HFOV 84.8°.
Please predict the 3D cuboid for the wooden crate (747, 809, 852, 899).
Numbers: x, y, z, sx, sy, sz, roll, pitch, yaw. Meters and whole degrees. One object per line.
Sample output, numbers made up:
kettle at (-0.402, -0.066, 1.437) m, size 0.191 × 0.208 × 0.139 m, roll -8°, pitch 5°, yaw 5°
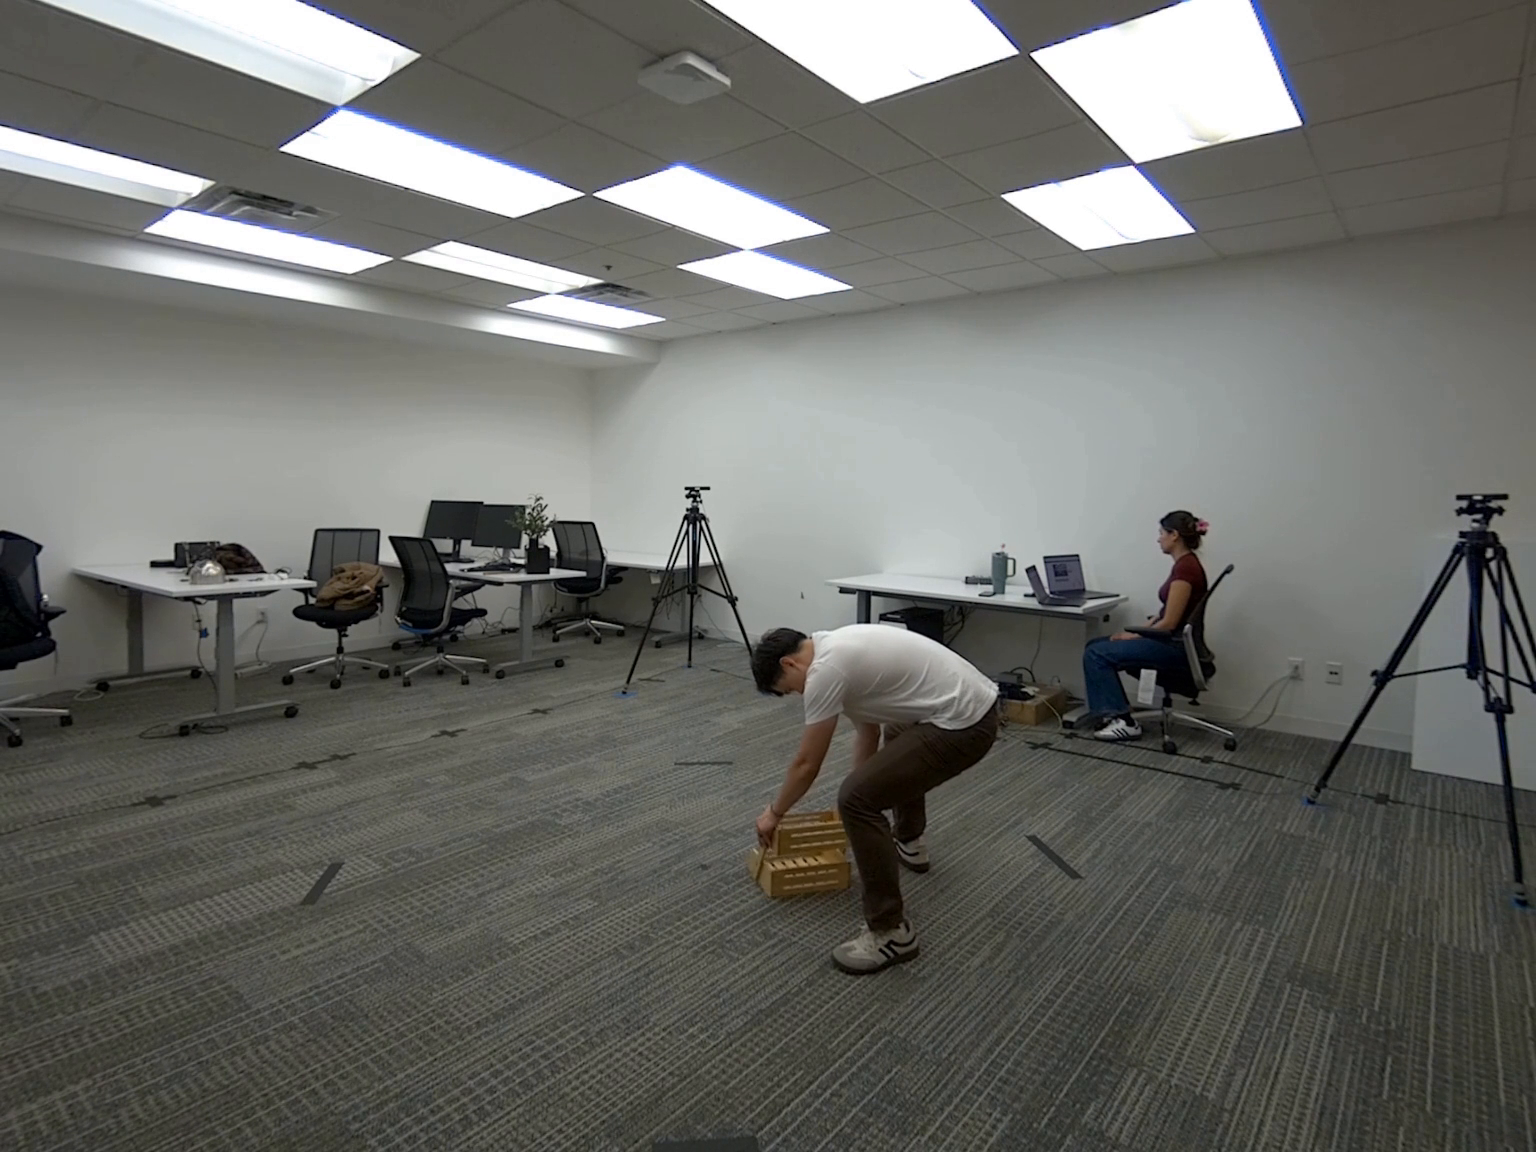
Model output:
wooden crate at (0.106, 0.956, 3.024) m, size 0.318 × 0.272 × 0.309 m, roll -3°, pitch 4°, yaw -20°
